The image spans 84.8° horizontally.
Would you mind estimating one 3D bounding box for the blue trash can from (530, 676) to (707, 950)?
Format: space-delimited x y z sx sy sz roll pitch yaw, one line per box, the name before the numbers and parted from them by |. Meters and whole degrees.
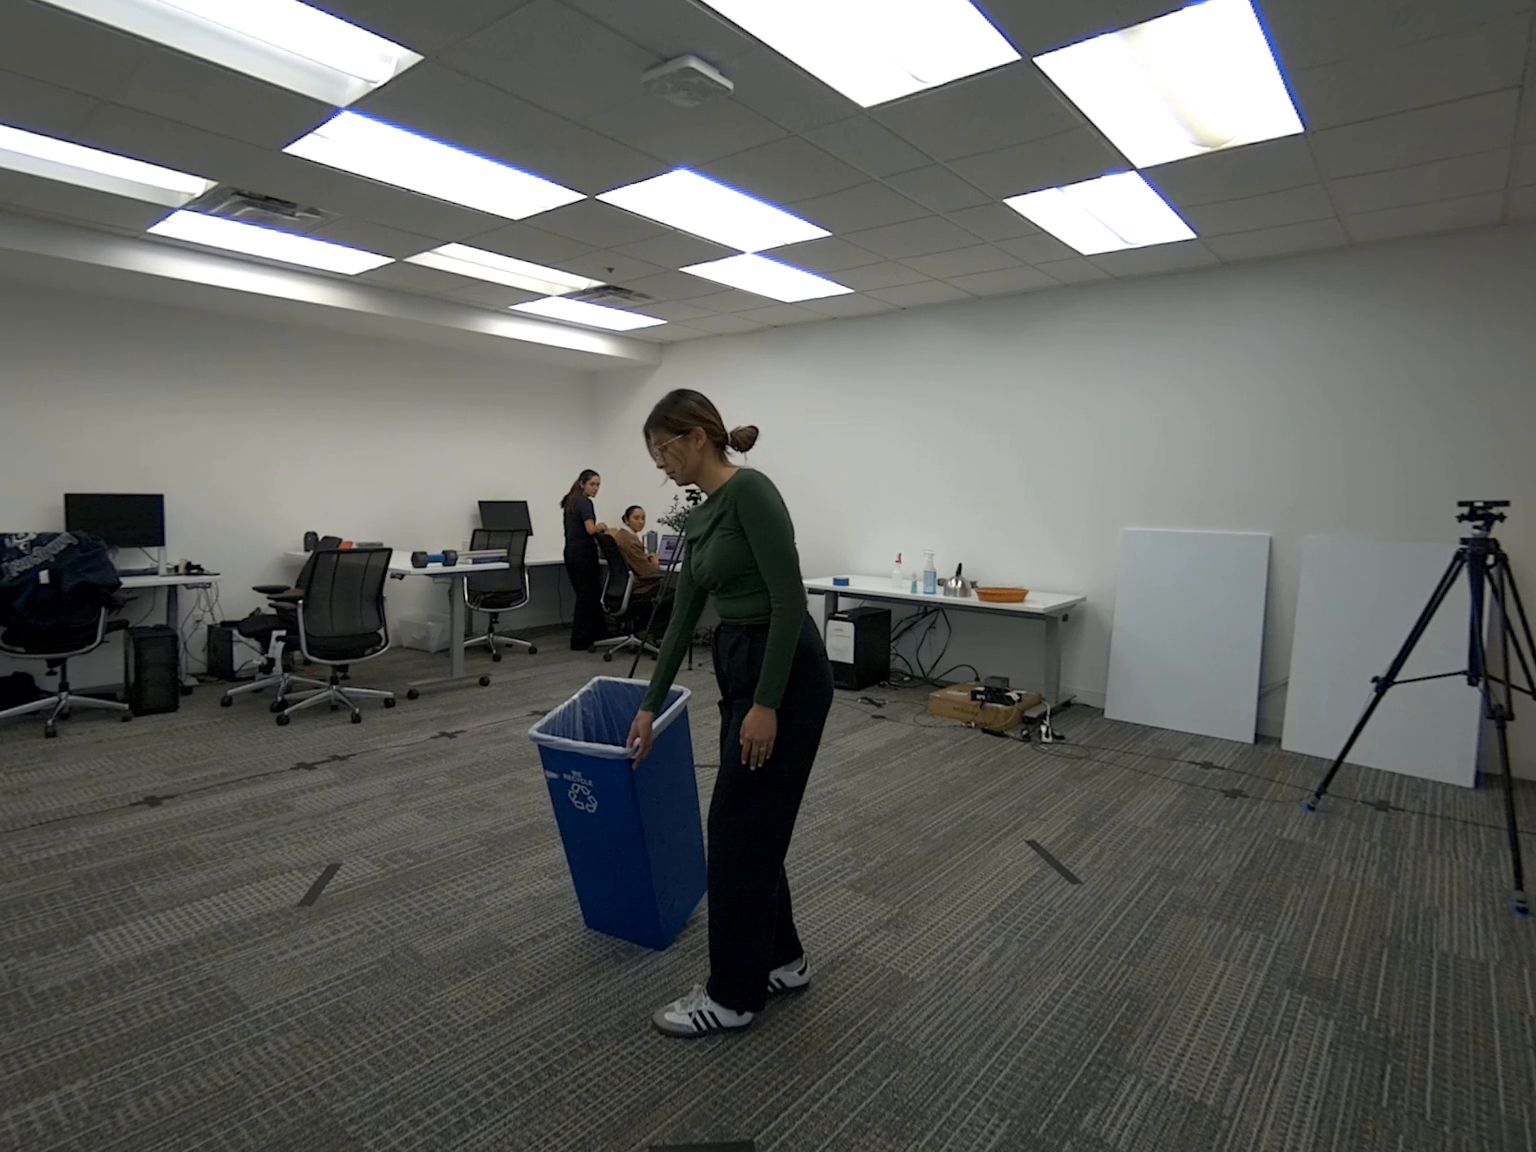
blue trash can | -0.440 0.728 2.644 0.388 0.700 0.371 2 20 26
